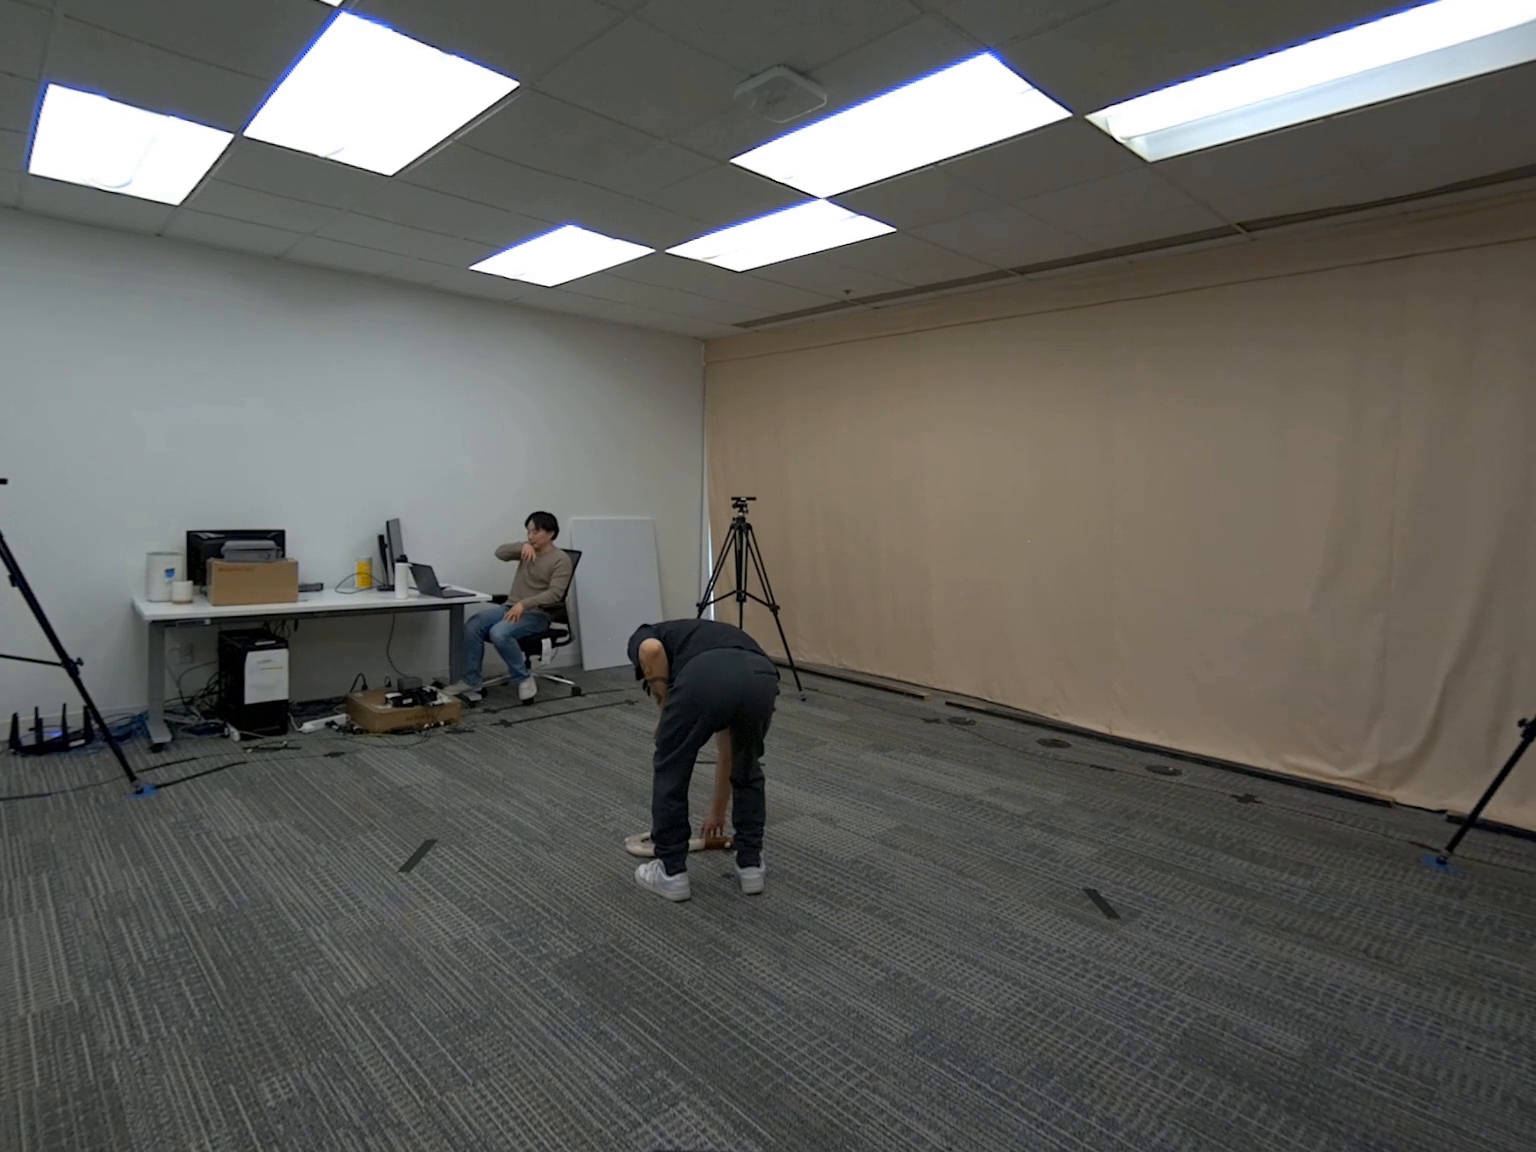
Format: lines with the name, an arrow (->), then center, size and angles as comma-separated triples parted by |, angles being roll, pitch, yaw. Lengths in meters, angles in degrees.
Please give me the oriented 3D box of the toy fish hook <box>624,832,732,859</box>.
toy fish hook -> -0.321, 1.053, 3.371 | 0.502, 0.048, 0.227 | 1, 7, -11
